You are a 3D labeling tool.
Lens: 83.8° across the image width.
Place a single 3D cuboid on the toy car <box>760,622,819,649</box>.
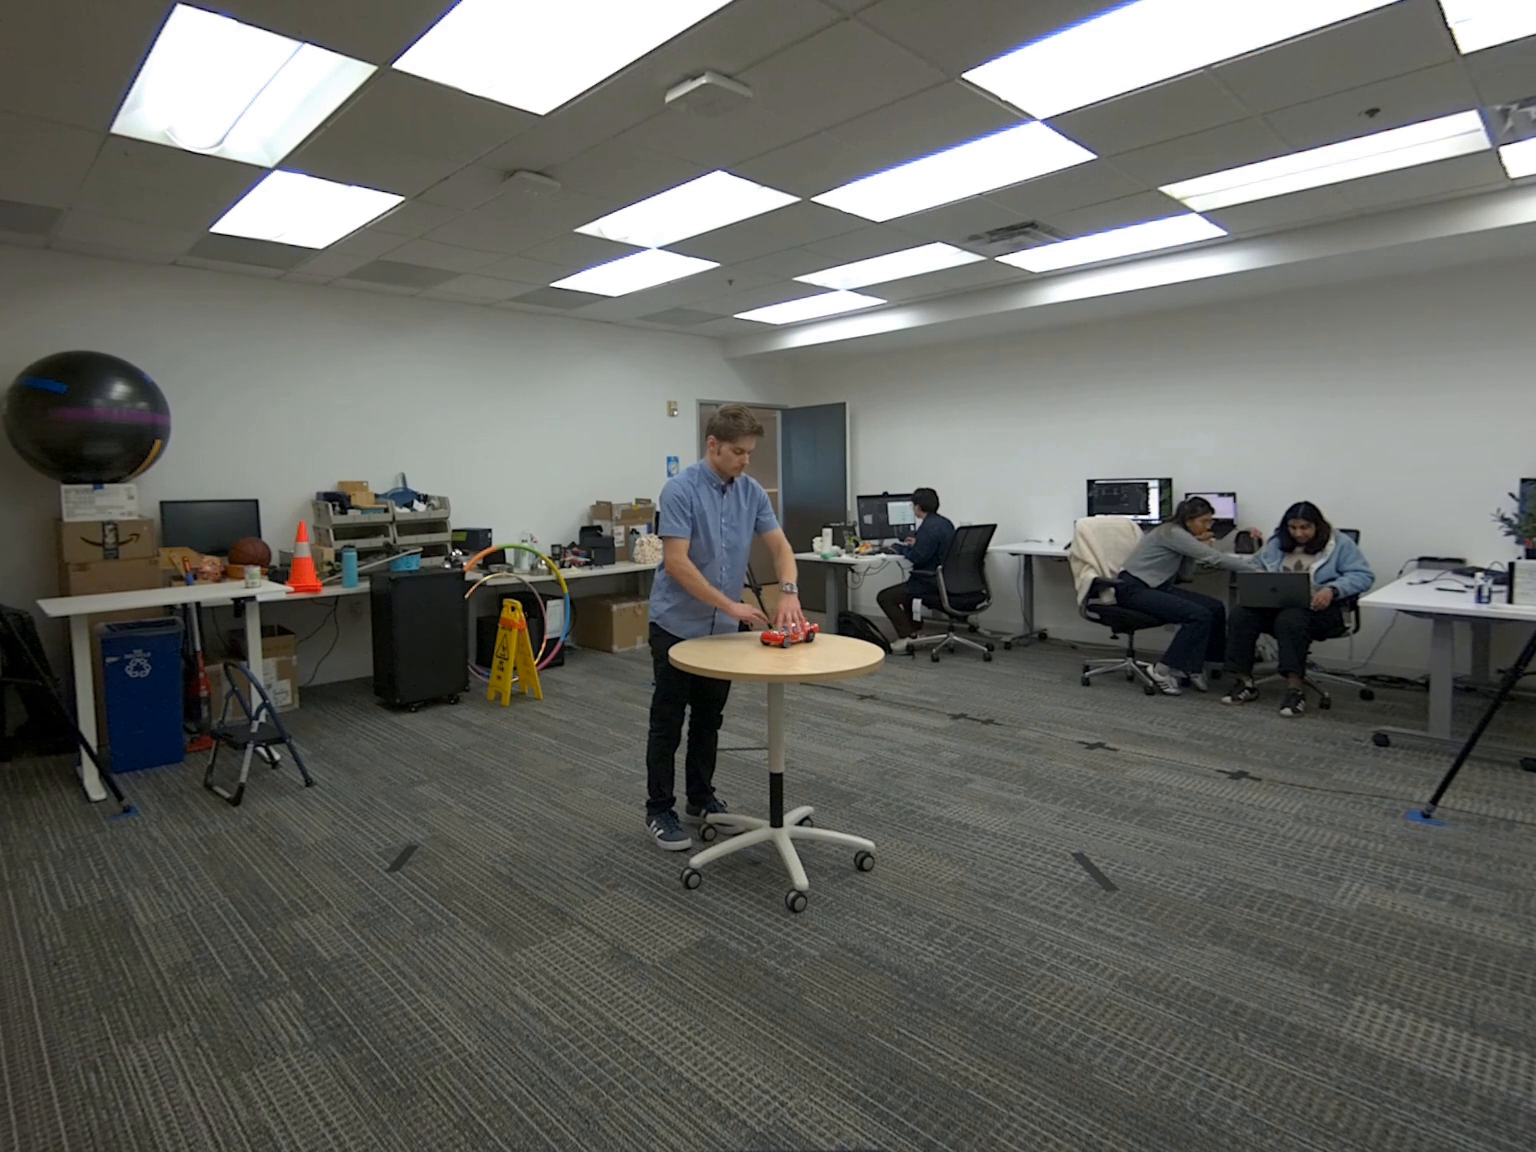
[{"bbox_3d":[0.096,0.220,3.191,0.134,0.082,0.250,3,18,41],"label":"toy car"}]
